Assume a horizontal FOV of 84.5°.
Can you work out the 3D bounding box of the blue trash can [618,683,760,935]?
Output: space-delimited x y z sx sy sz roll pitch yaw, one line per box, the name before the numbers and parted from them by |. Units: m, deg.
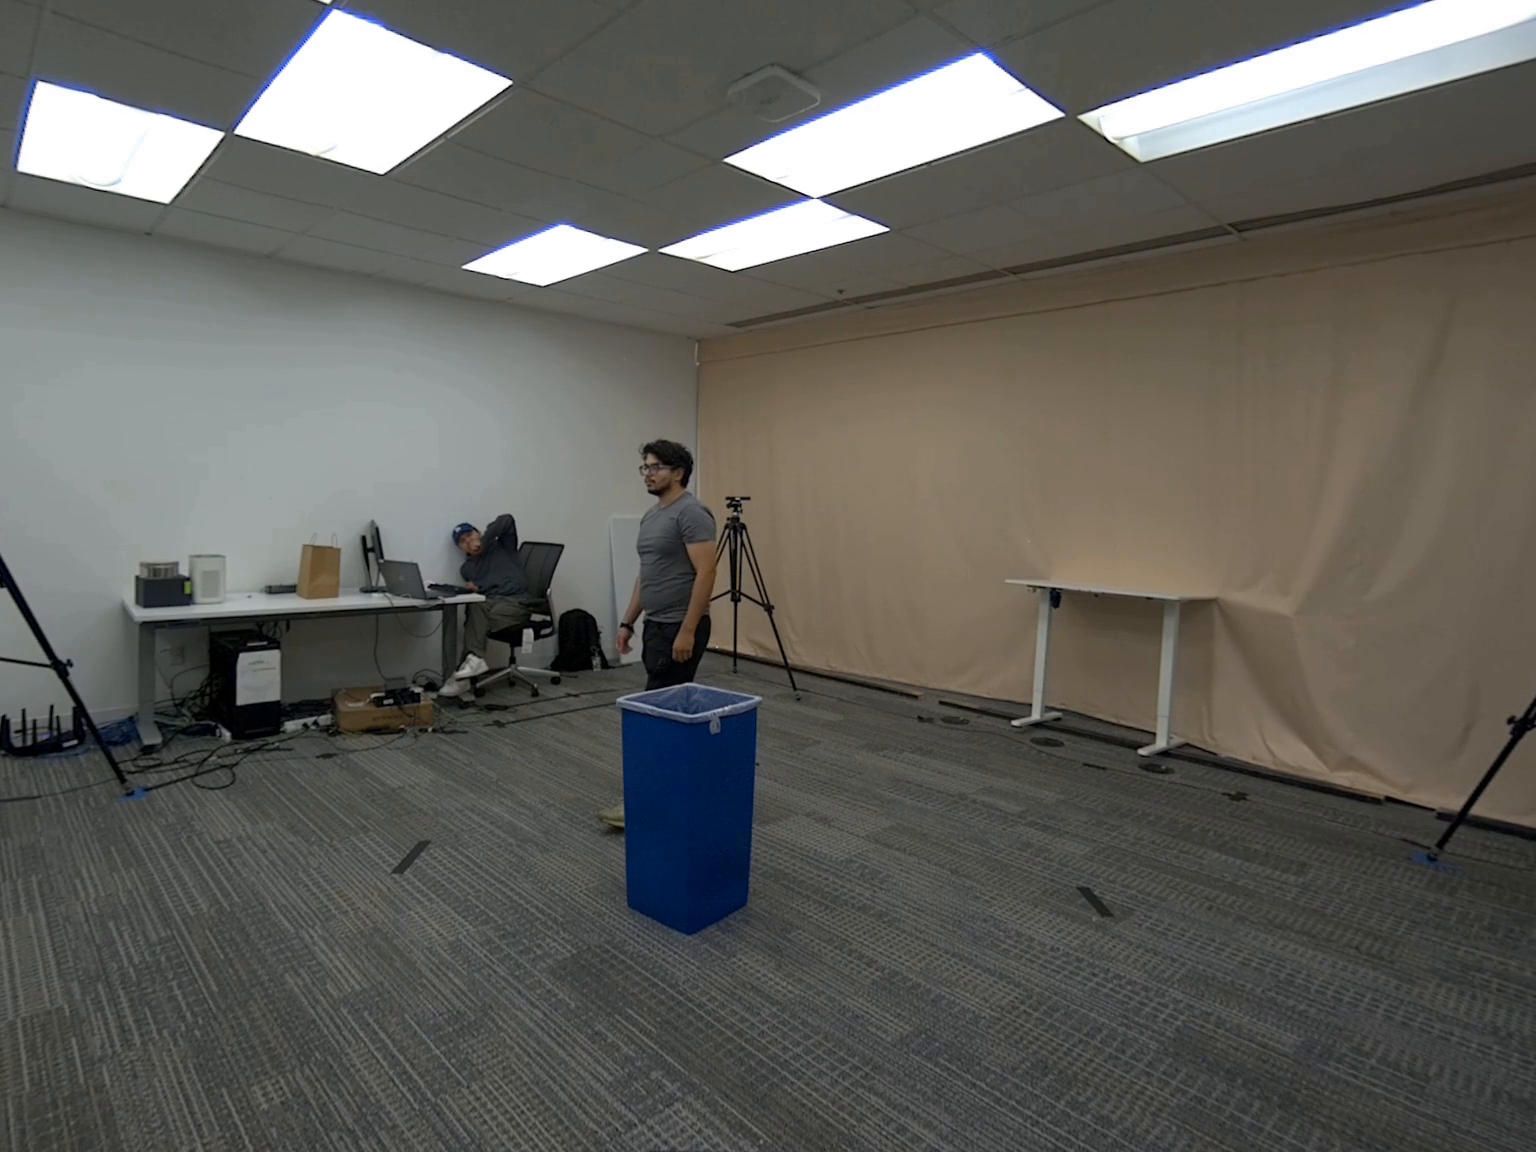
blue trash can | -0.281 0.768 2.861 0.383 0.712 0.369 4 4 39
